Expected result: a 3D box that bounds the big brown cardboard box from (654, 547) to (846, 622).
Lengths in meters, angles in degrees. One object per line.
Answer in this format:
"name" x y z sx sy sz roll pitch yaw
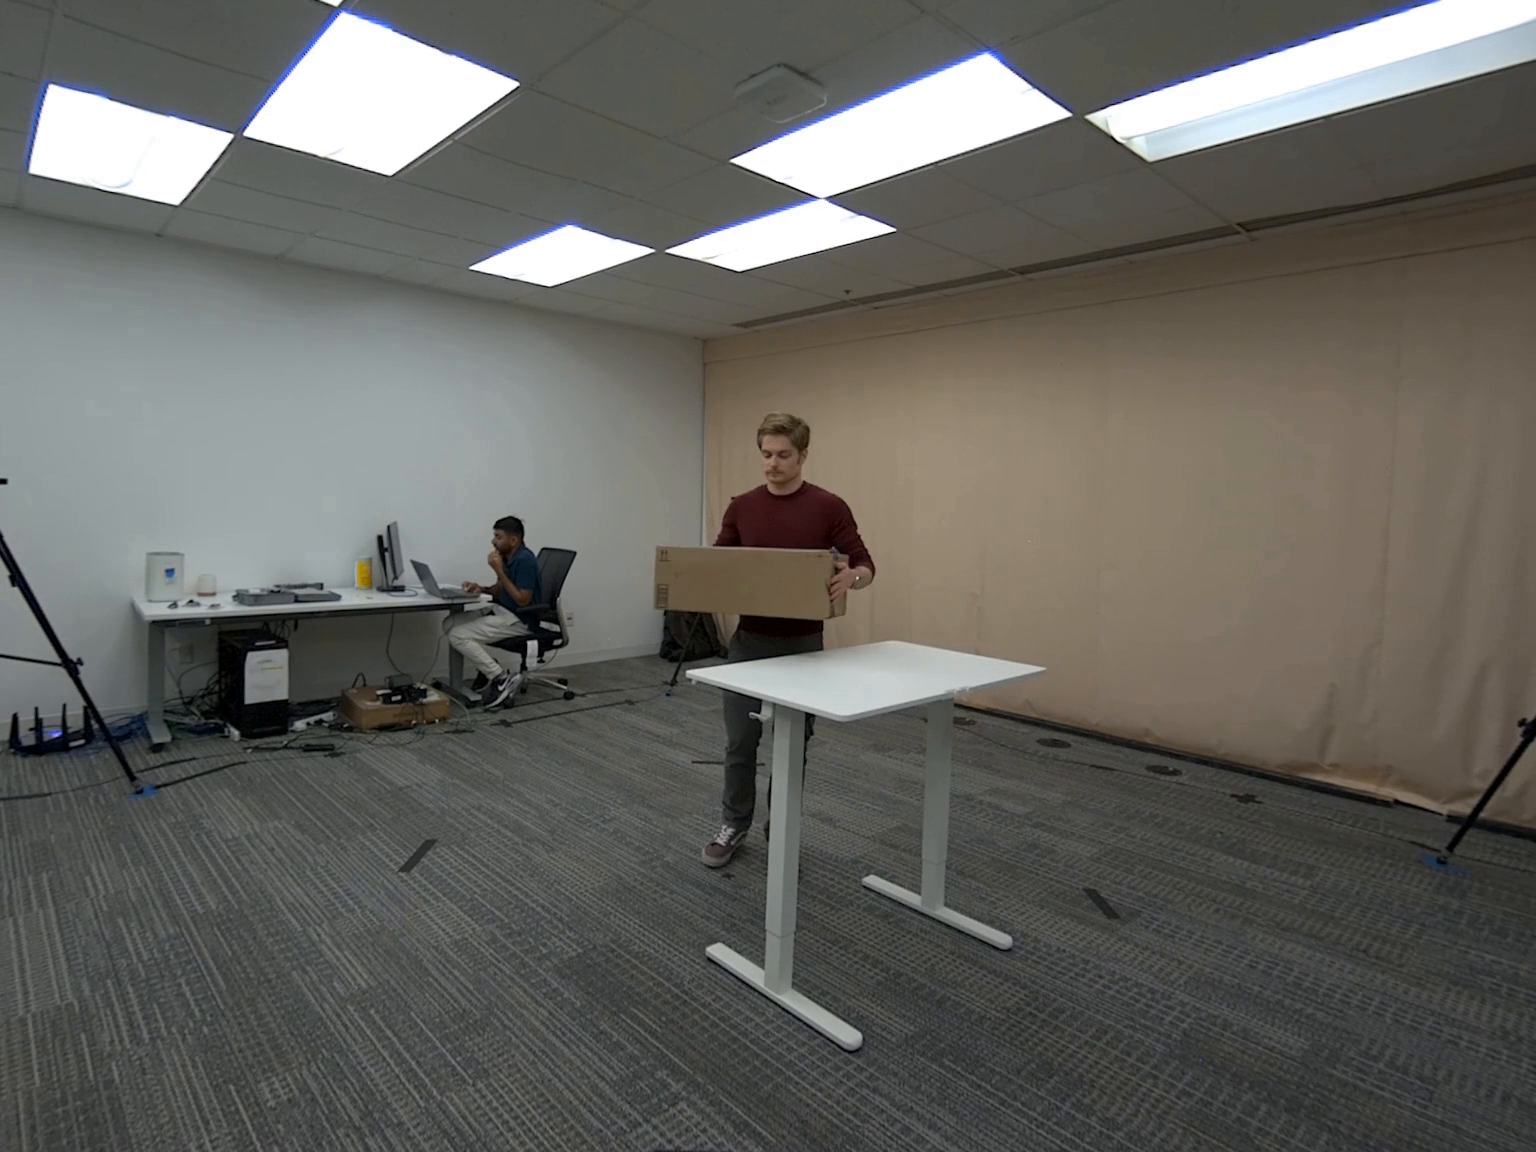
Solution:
"big brown cardboard box" -0.056 0.017 2.918 0.597 0.233 0.412 2 1 16
